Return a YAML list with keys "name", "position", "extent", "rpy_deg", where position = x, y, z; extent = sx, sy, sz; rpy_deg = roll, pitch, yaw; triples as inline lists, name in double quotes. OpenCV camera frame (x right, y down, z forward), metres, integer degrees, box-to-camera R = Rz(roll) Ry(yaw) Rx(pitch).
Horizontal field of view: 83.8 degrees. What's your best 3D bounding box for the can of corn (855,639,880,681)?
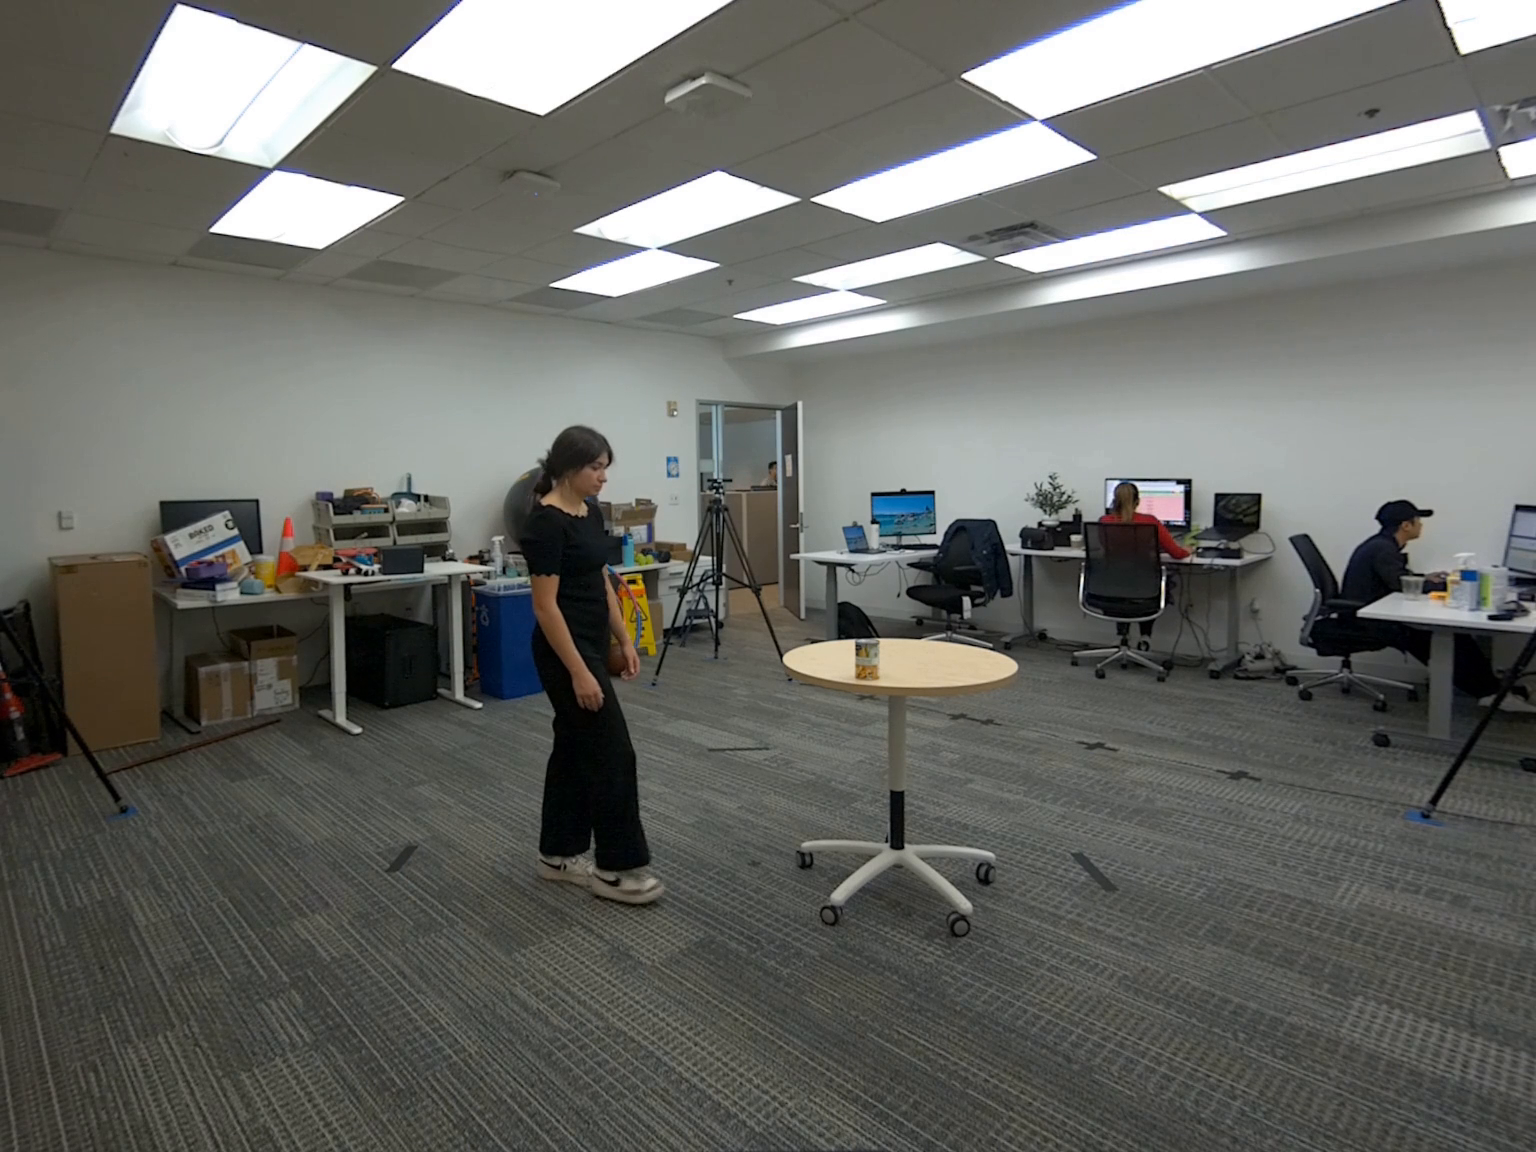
- name: "can of corn"
  position: [0.303, 0.254, 2.599]
  extent: [0.074, 0.110, 0.075]
  rpy_deg: [0, 8, -2]
